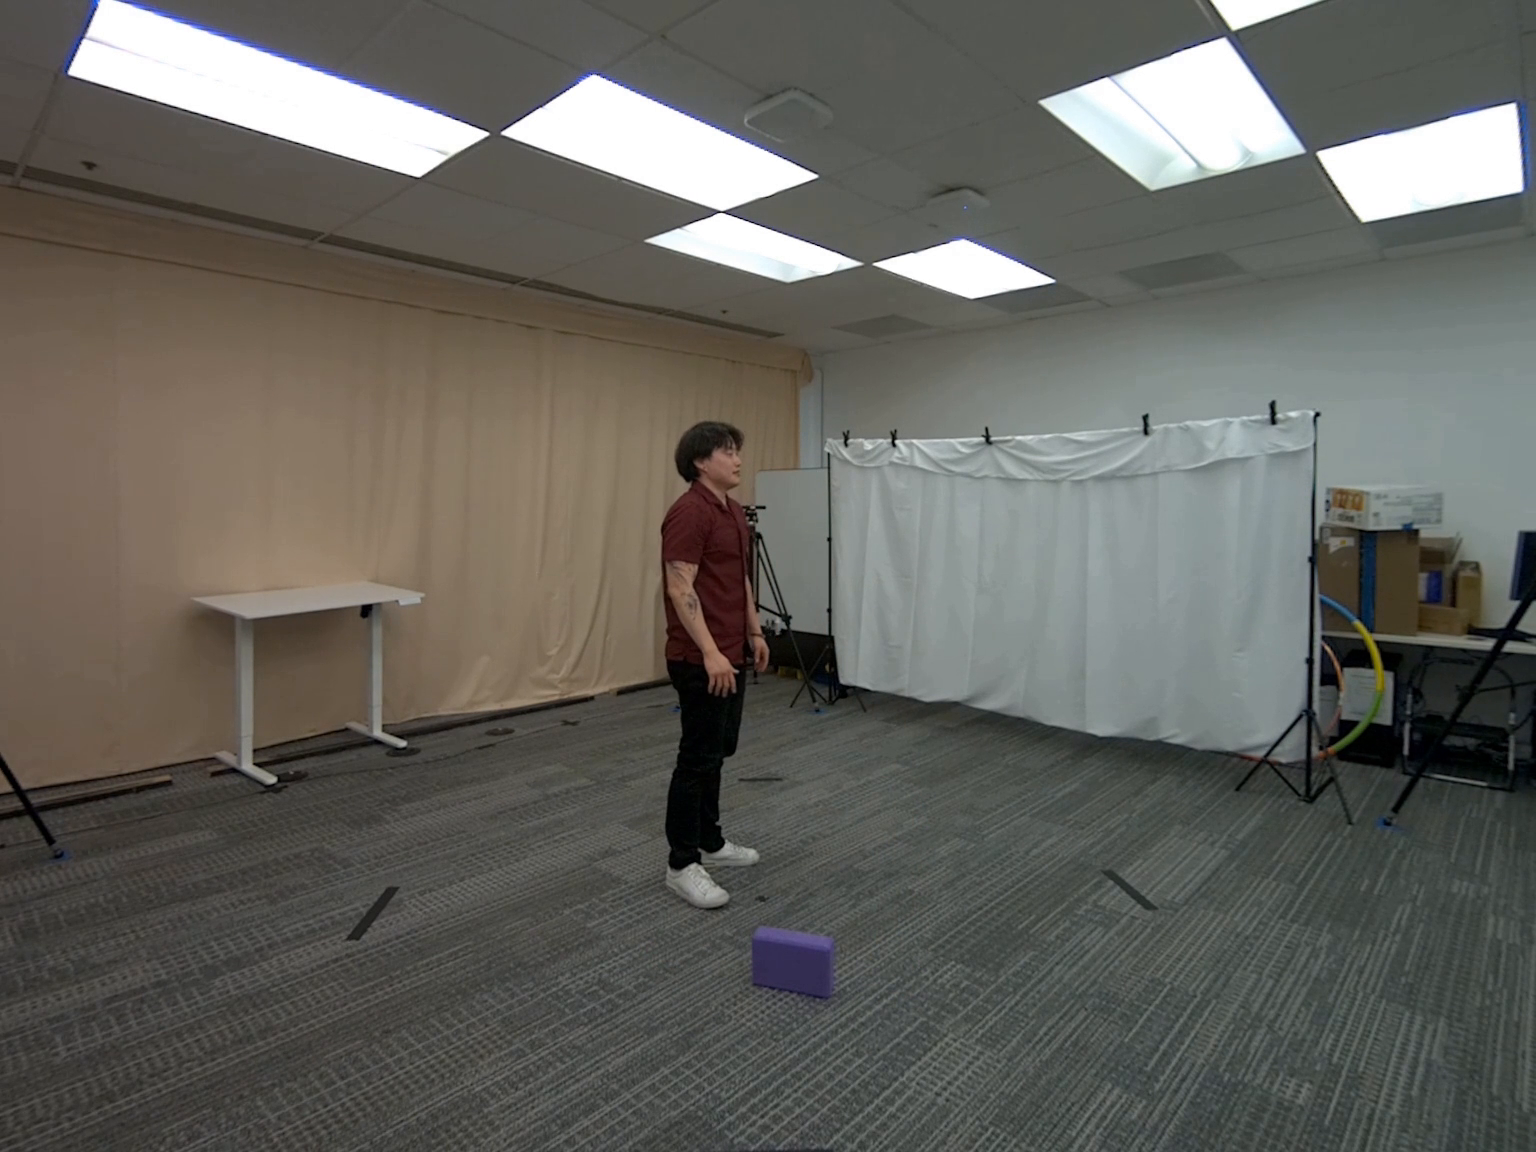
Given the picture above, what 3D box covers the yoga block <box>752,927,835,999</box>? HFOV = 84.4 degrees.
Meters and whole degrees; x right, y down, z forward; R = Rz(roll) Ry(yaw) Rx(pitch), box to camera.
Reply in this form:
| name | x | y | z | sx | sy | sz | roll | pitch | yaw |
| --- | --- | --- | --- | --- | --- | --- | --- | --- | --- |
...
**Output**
| name | x | y | z | sx | sy | sz | roll | pitch | yaw |
| --- | --- | --- | --- | --- | --- | --- | --- | --- | --- |
| yoga block | 0.078 | 1.112 | 2.435 | 0.234 | 0.149 | 0.075 | 1 | 3 | 19 |
